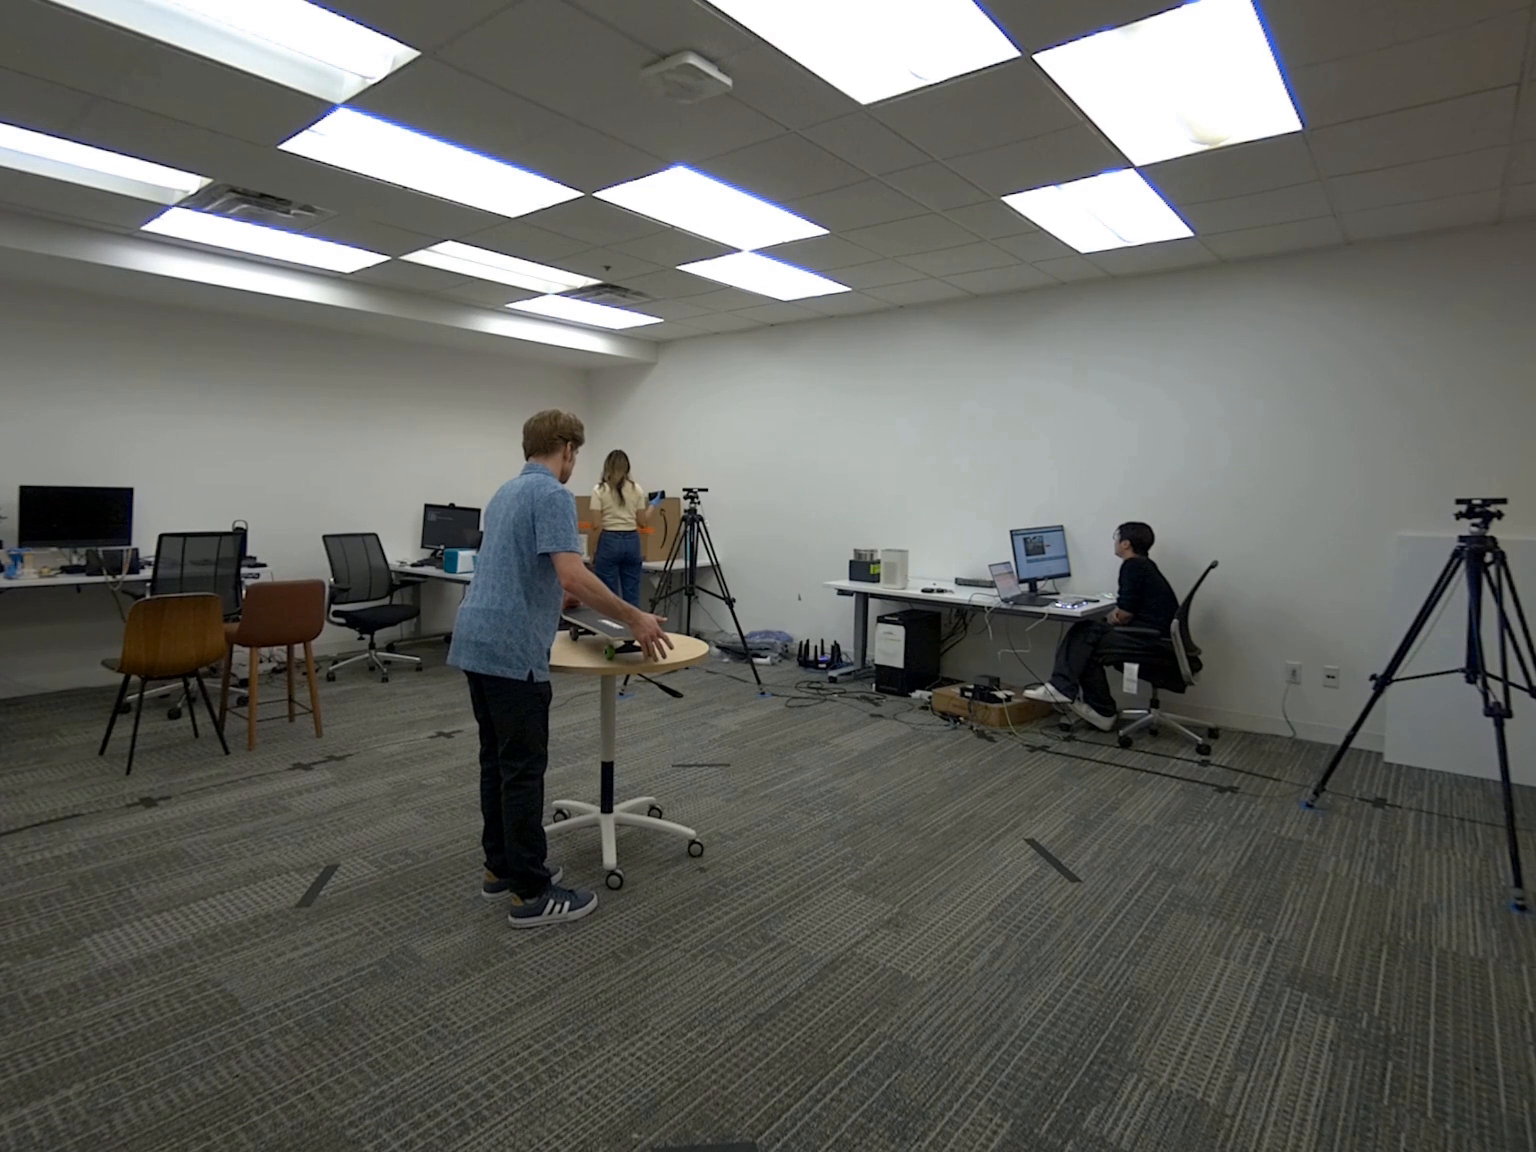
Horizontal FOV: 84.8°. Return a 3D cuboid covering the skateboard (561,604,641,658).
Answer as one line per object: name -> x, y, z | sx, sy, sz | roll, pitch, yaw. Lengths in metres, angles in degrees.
skateboard -> -0.614, 0.215, 3.218 | 0.188, 0.110, 0.810 | -3, 7, -30
